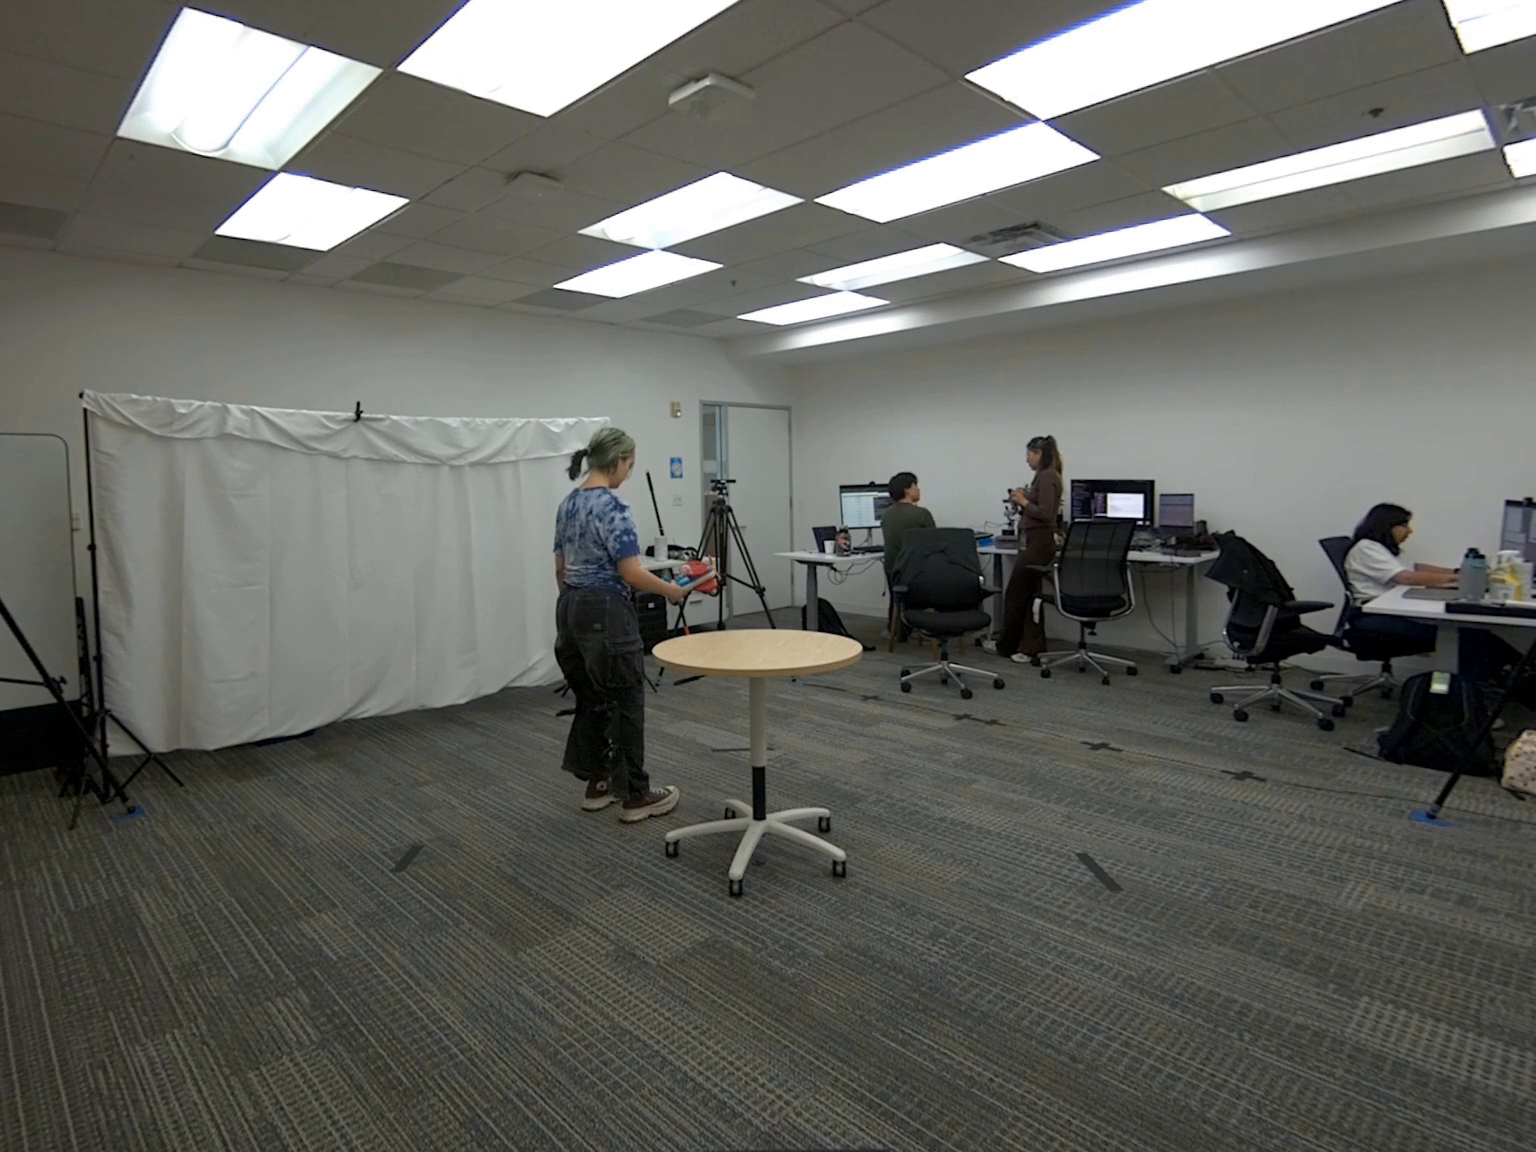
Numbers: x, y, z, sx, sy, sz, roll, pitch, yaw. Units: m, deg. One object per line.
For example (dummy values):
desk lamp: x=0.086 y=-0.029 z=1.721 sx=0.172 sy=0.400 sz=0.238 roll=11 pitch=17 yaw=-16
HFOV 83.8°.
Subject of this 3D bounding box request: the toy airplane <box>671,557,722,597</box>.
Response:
toy airplane: x=-0.335 y=0.030 z=3.746 sx=0.258 sy=0.155 sz=0.254 roll=0 pitch=12 yaw=39
